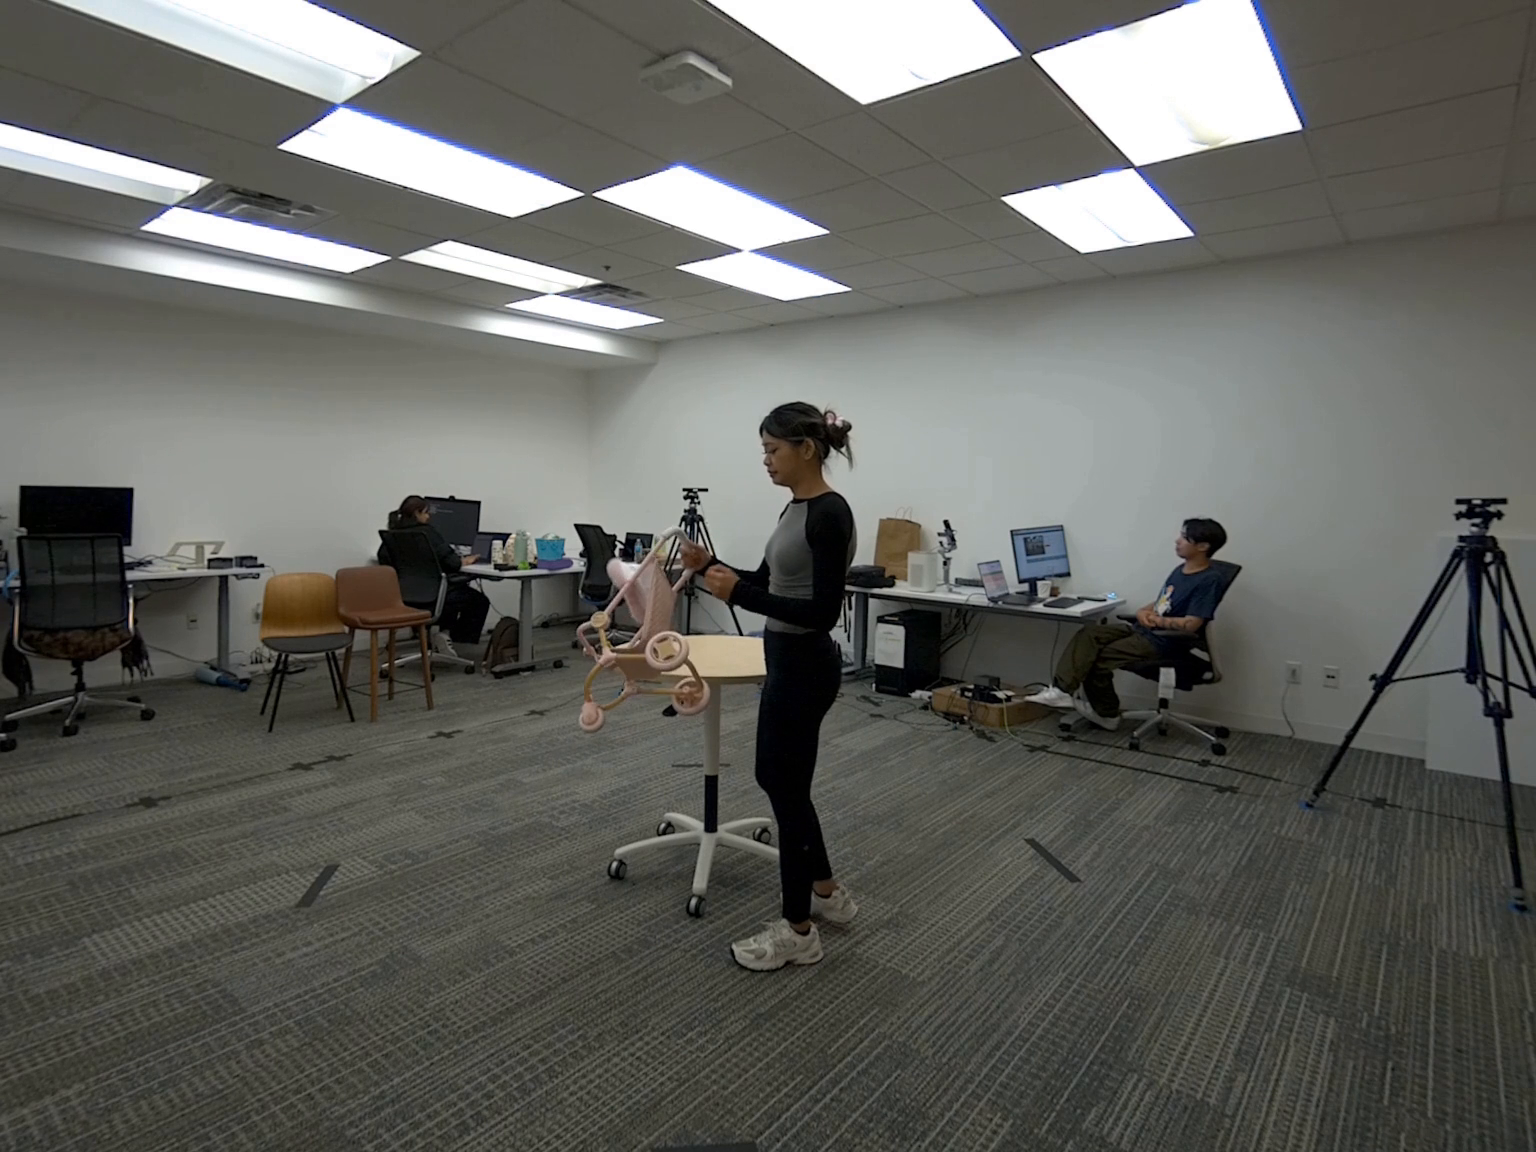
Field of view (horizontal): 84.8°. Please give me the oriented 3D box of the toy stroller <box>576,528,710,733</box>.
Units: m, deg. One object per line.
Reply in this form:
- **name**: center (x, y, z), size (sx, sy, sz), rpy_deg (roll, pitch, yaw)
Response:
- **toy stroller**: center (-0.362, 0.155, 2.314), size (0.344, 0.552, 0.271), rpy_deg (-15, -34, 9)
